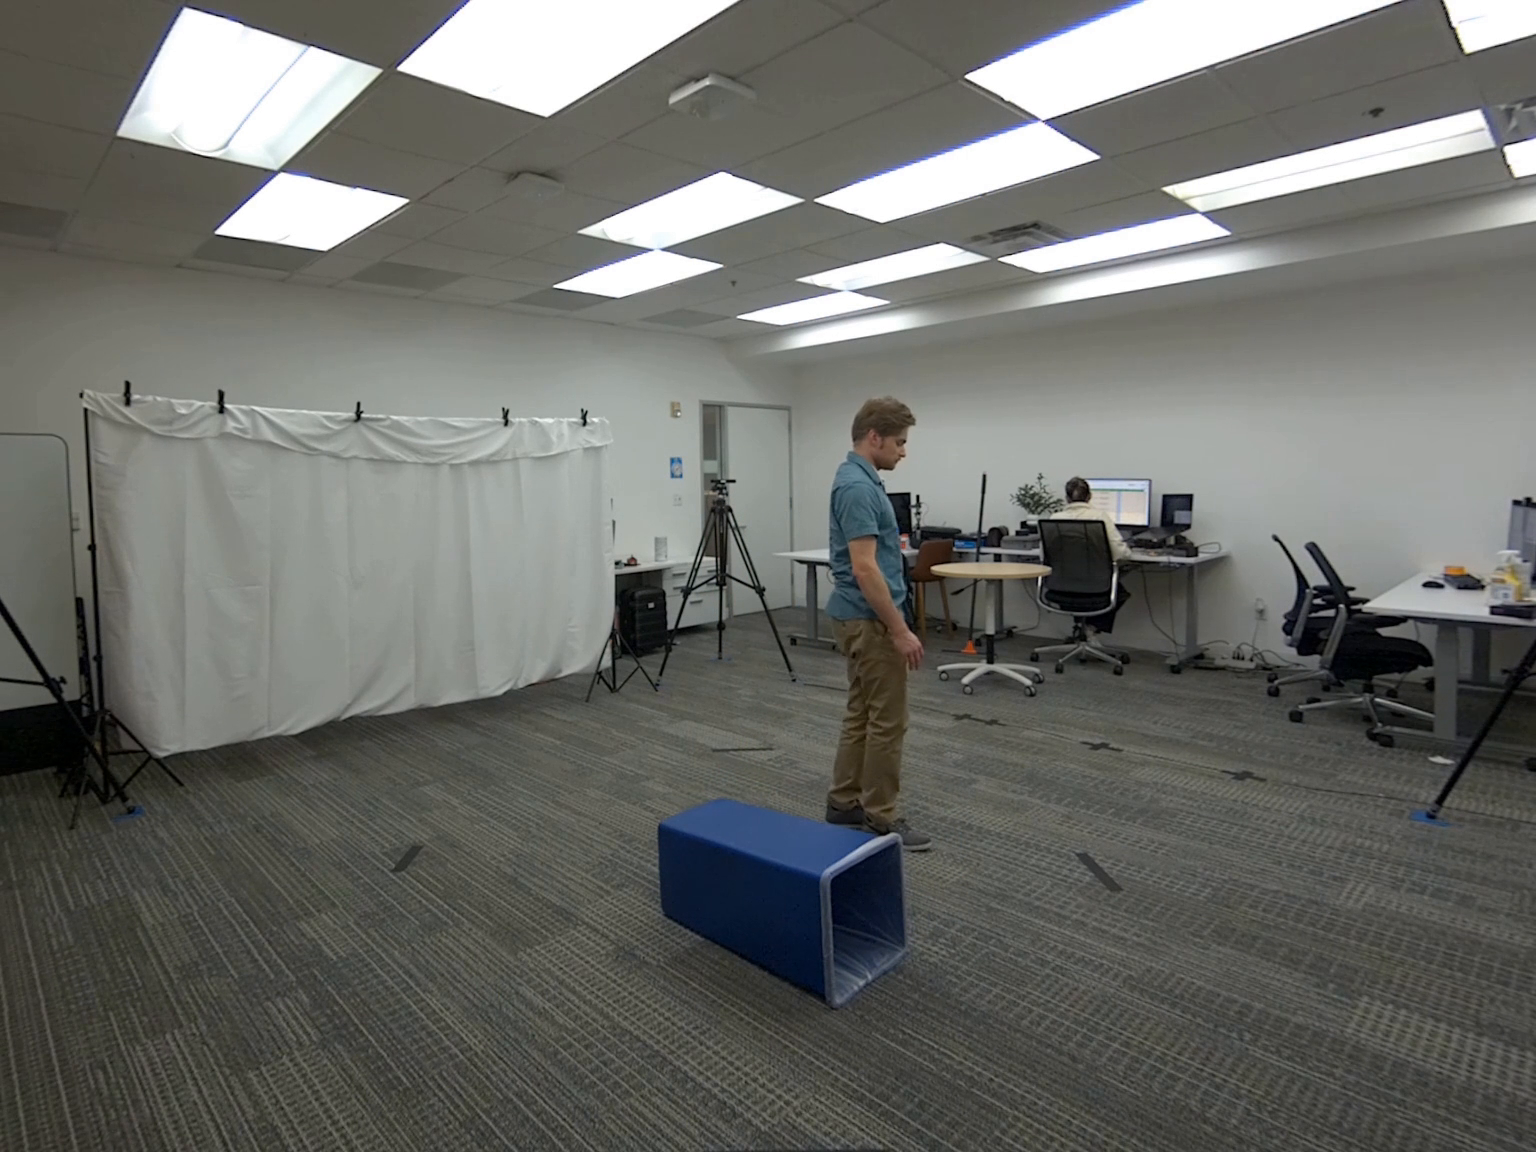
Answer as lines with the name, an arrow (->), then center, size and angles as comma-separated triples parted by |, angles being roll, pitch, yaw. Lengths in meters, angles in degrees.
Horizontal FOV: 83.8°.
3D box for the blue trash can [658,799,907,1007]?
blue trash can -> 0.012, 0.942, 2.605 | 0.734, 0.377, 0.364 | 0, 5, 43
